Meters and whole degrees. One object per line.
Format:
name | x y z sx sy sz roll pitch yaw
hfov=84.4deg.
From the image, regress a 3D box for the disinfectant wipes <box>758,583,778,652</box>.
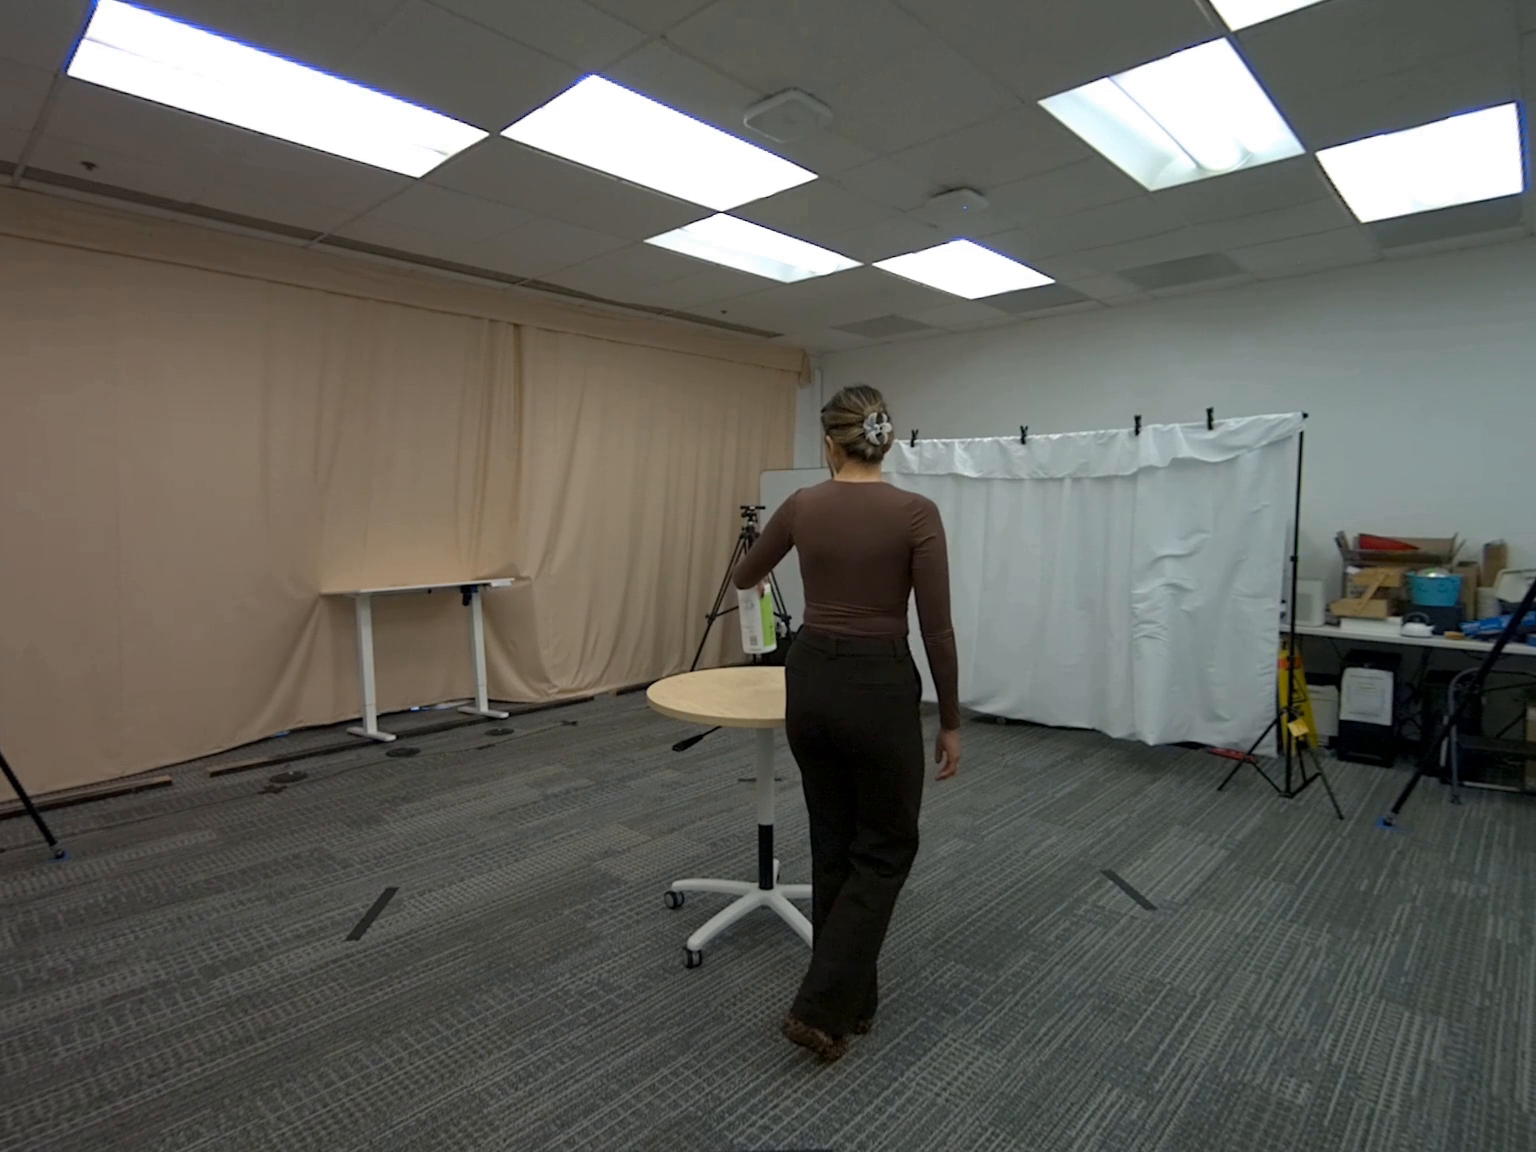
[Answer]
disinfectant wipes | -0.031 0.138 2.718 0.118 0.216 0.118 -4 6 -1
